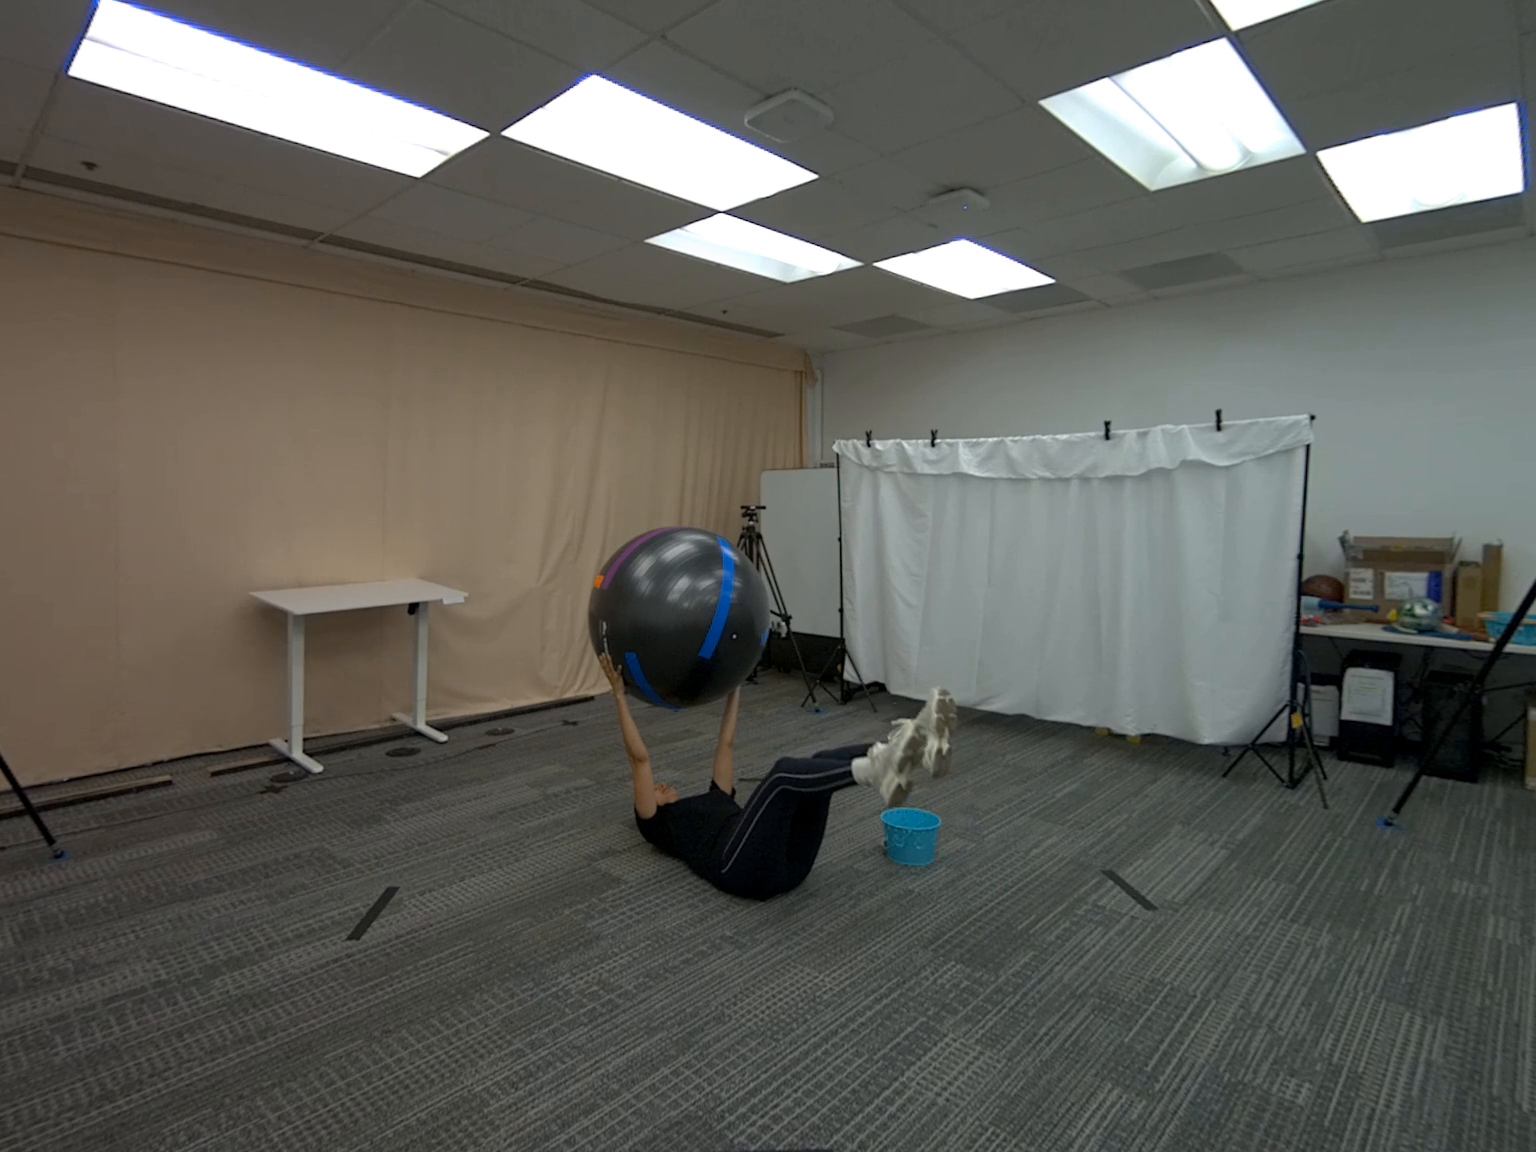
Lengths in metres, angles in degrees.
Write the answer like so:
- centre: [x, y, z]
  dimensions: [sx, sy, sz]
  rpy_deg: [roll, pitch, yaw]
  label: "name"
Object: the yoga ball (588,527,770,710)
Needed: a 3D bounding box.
- centre: [-0.370, 0.173, 3.522]
  dimensions: [0.757, 0.756, 0.761]
  rpy_deg: [3, 5, -2]
  label: "yoga ball"
